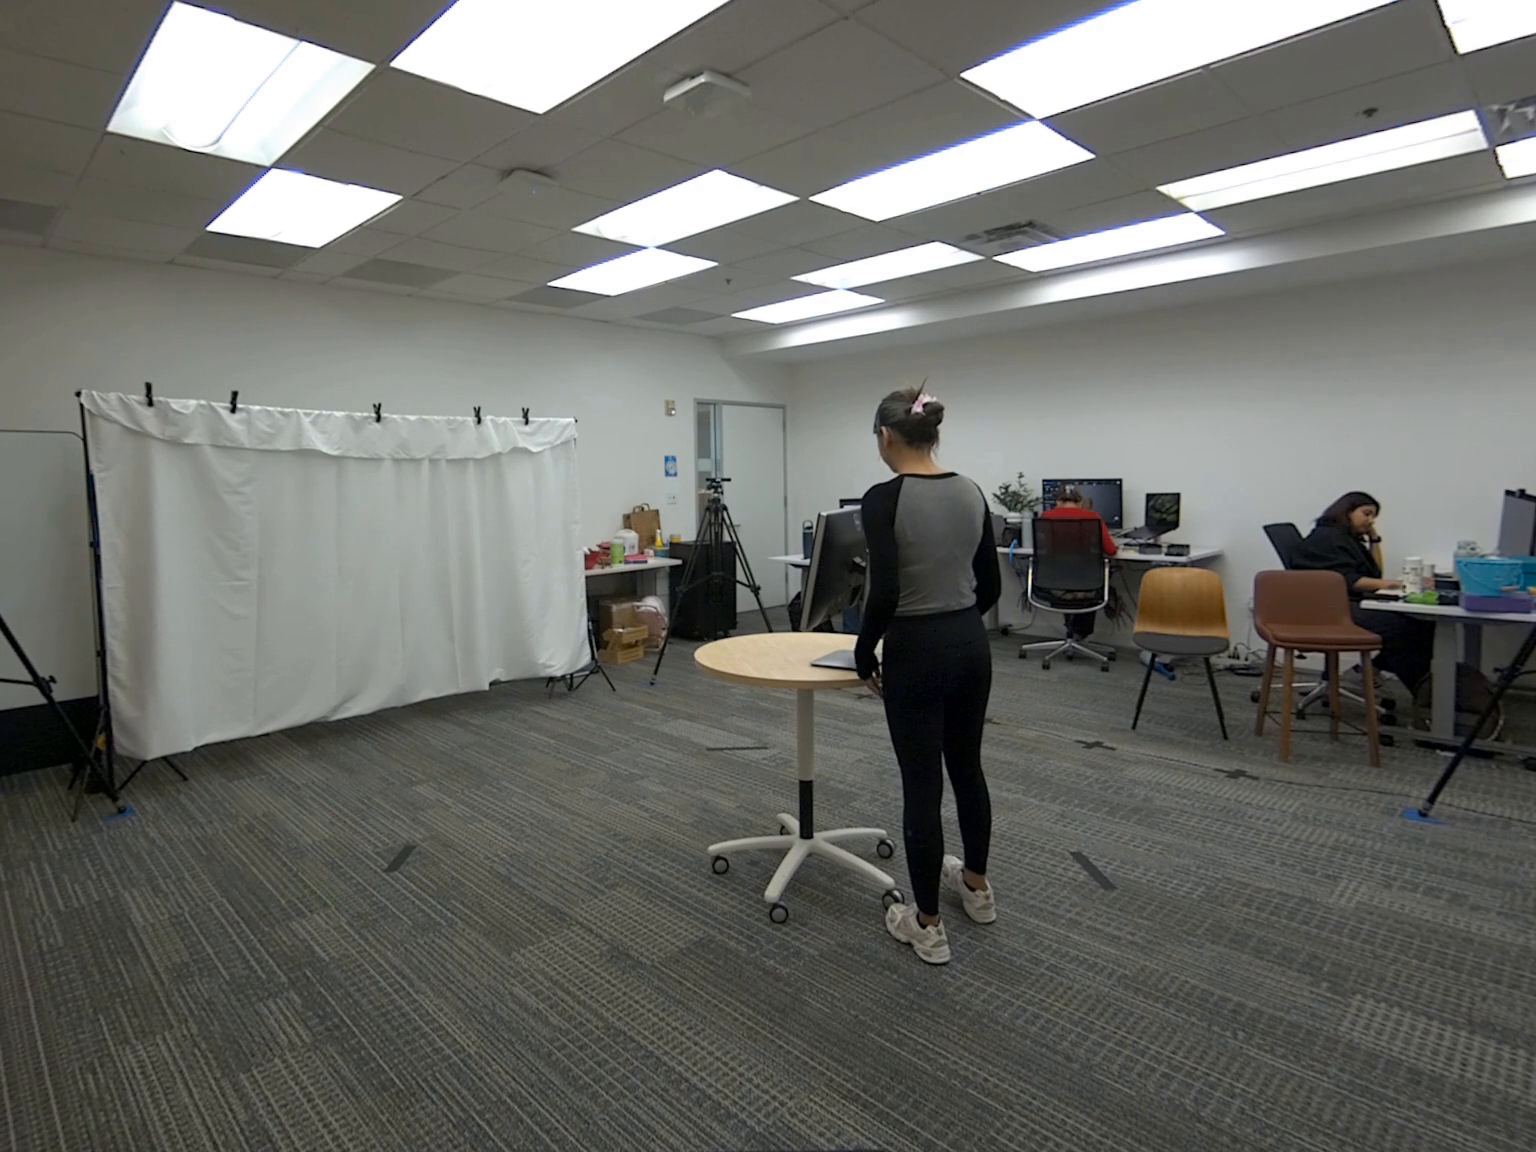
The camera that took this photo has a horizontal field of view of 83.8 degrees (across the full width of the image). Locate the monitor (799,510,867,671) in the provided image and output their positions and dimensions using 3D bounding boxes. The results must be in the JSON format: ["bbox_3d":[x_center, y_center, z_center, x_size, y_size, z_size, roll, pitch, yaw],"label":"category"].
[{"bbox_3d":[0.280,0.041,2.784,0.191,0.520,0.530,-1,6,23],"label":"monitor"}]
